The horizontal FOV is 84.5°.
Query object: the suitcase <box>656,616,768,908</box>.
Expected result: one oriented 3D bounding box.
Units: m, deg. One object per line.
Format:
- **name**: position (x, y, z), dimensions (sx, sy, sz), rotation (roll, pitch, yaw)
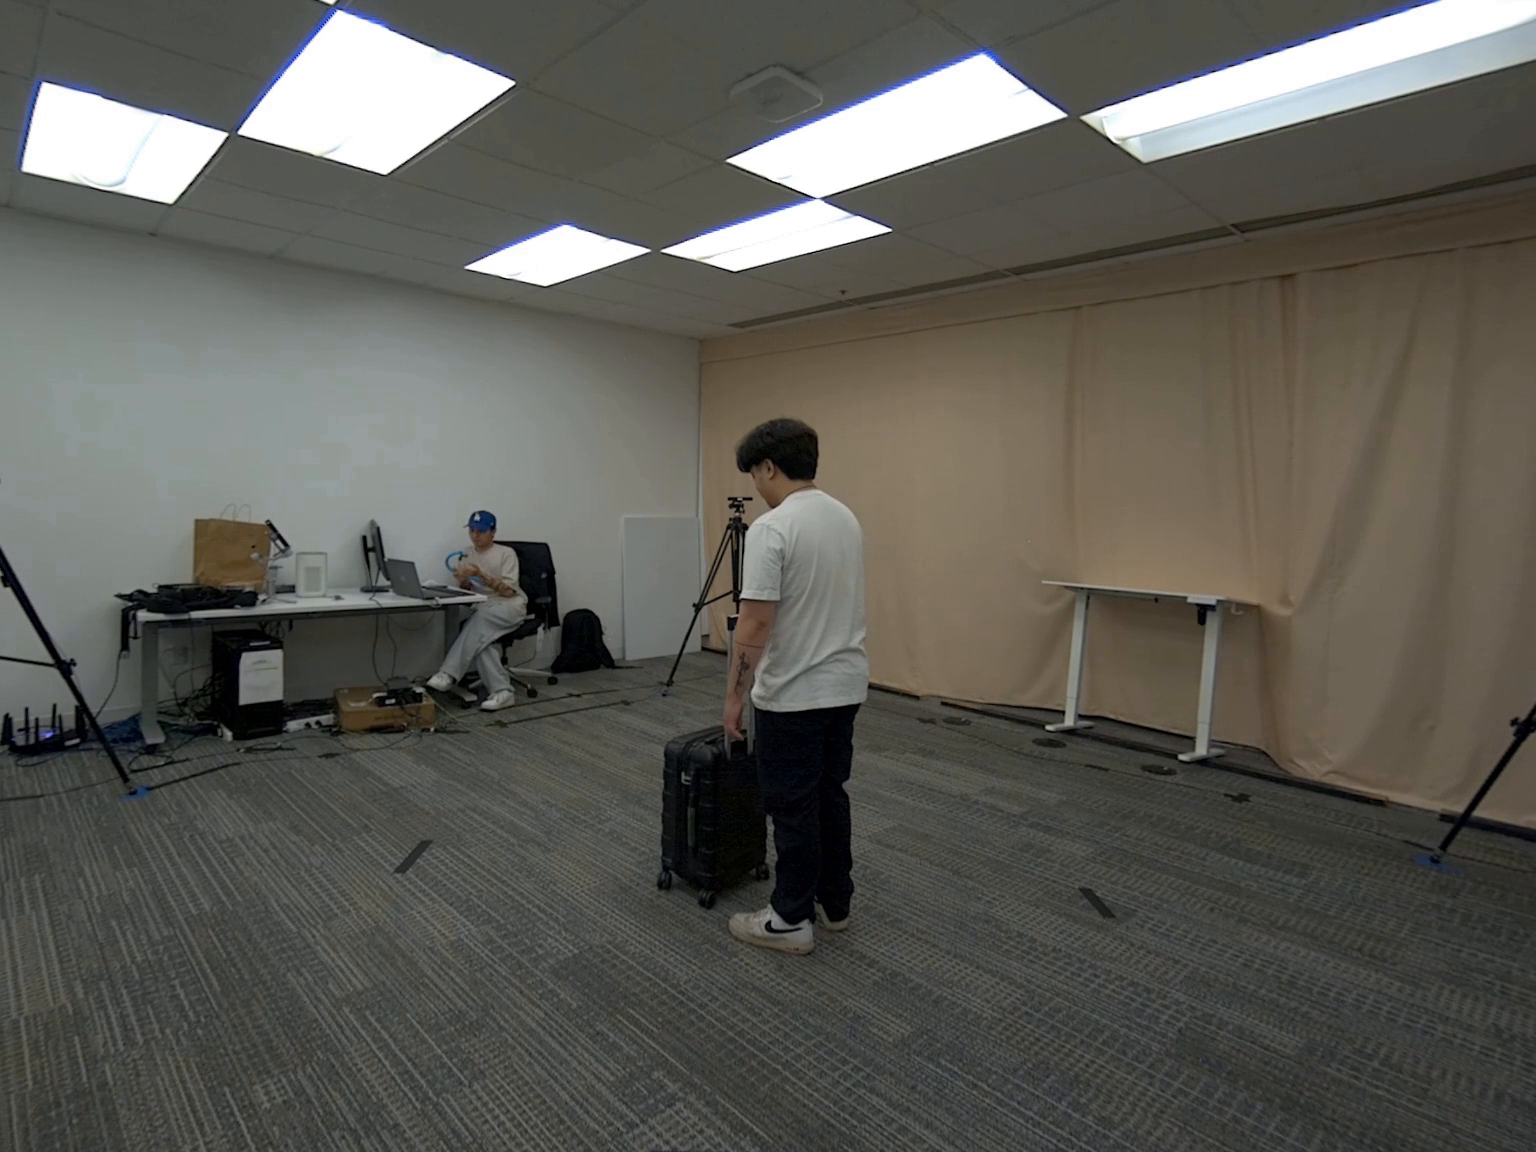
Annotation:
- **suitcase**: position (-0.200, 0.637, 3.051), dimensions (0.263, 0.978, 0.375), rotation (0, 1, 39)
